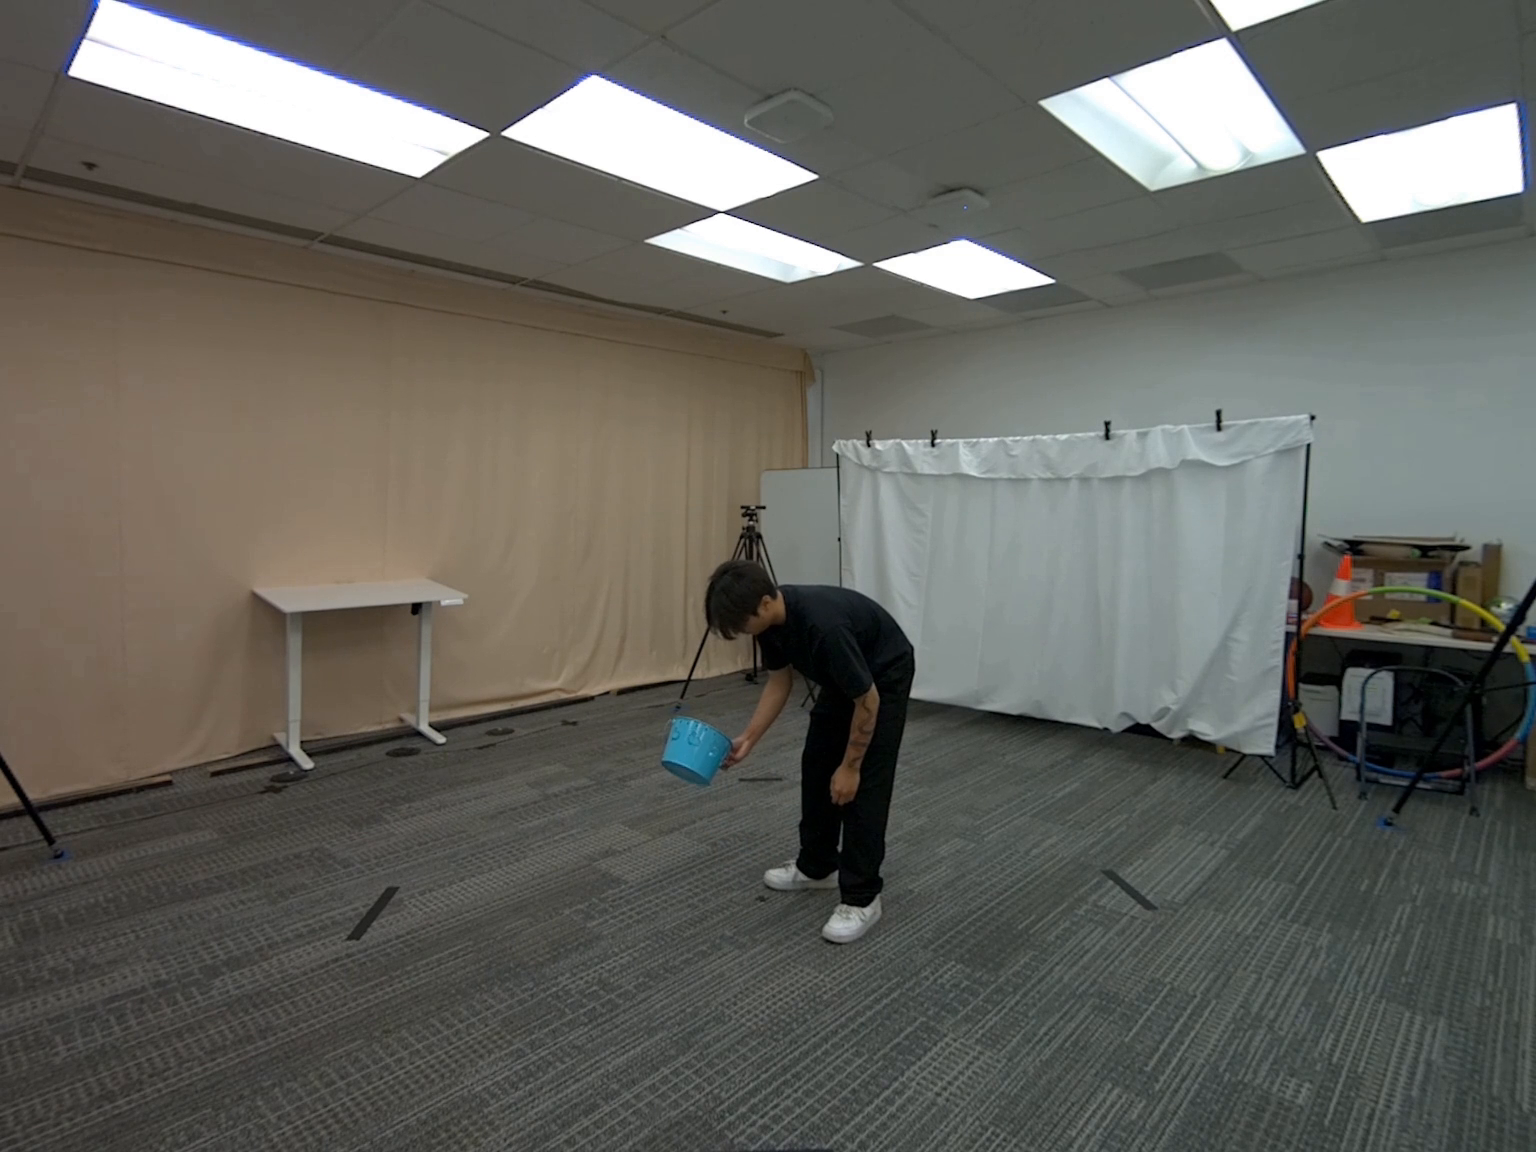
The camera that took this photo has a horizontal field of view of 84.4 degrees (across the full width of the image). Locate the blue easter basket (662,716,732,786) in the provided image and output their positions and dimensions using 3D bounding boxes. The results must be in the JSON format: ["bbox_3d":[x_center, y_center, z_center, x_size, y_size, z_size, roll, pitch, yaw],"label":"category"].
[{"bbox_3d":[-0.245,0.610,2.898,0.247,0.156,0.240,21,-27,9],"label":"blue easter basket"}]
